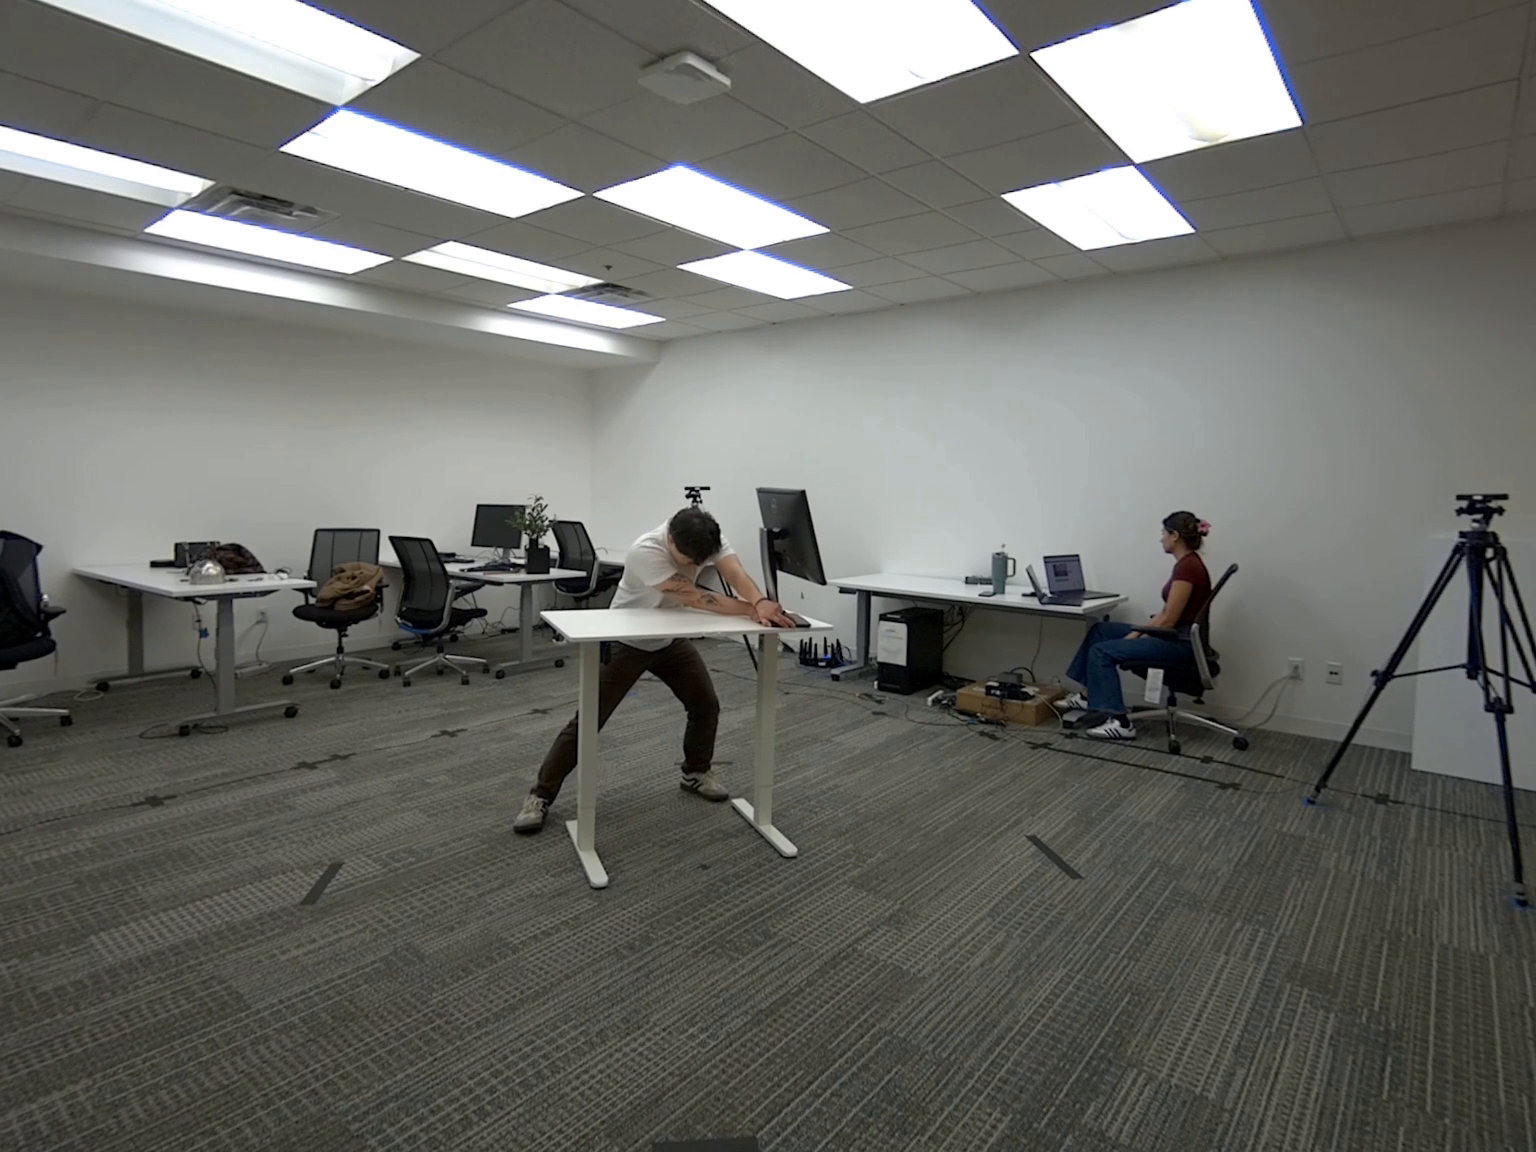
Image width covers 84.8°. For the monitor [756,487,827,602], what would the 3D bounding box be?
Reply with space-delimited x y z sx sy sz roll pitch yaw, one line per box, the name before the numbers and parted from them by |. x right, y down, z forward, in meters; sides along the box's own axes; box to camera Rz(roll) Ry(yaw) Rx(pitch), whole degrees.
monitor | 0.044 -0.081 3.259 0.183 0.520 0.552 -2 5 -21
